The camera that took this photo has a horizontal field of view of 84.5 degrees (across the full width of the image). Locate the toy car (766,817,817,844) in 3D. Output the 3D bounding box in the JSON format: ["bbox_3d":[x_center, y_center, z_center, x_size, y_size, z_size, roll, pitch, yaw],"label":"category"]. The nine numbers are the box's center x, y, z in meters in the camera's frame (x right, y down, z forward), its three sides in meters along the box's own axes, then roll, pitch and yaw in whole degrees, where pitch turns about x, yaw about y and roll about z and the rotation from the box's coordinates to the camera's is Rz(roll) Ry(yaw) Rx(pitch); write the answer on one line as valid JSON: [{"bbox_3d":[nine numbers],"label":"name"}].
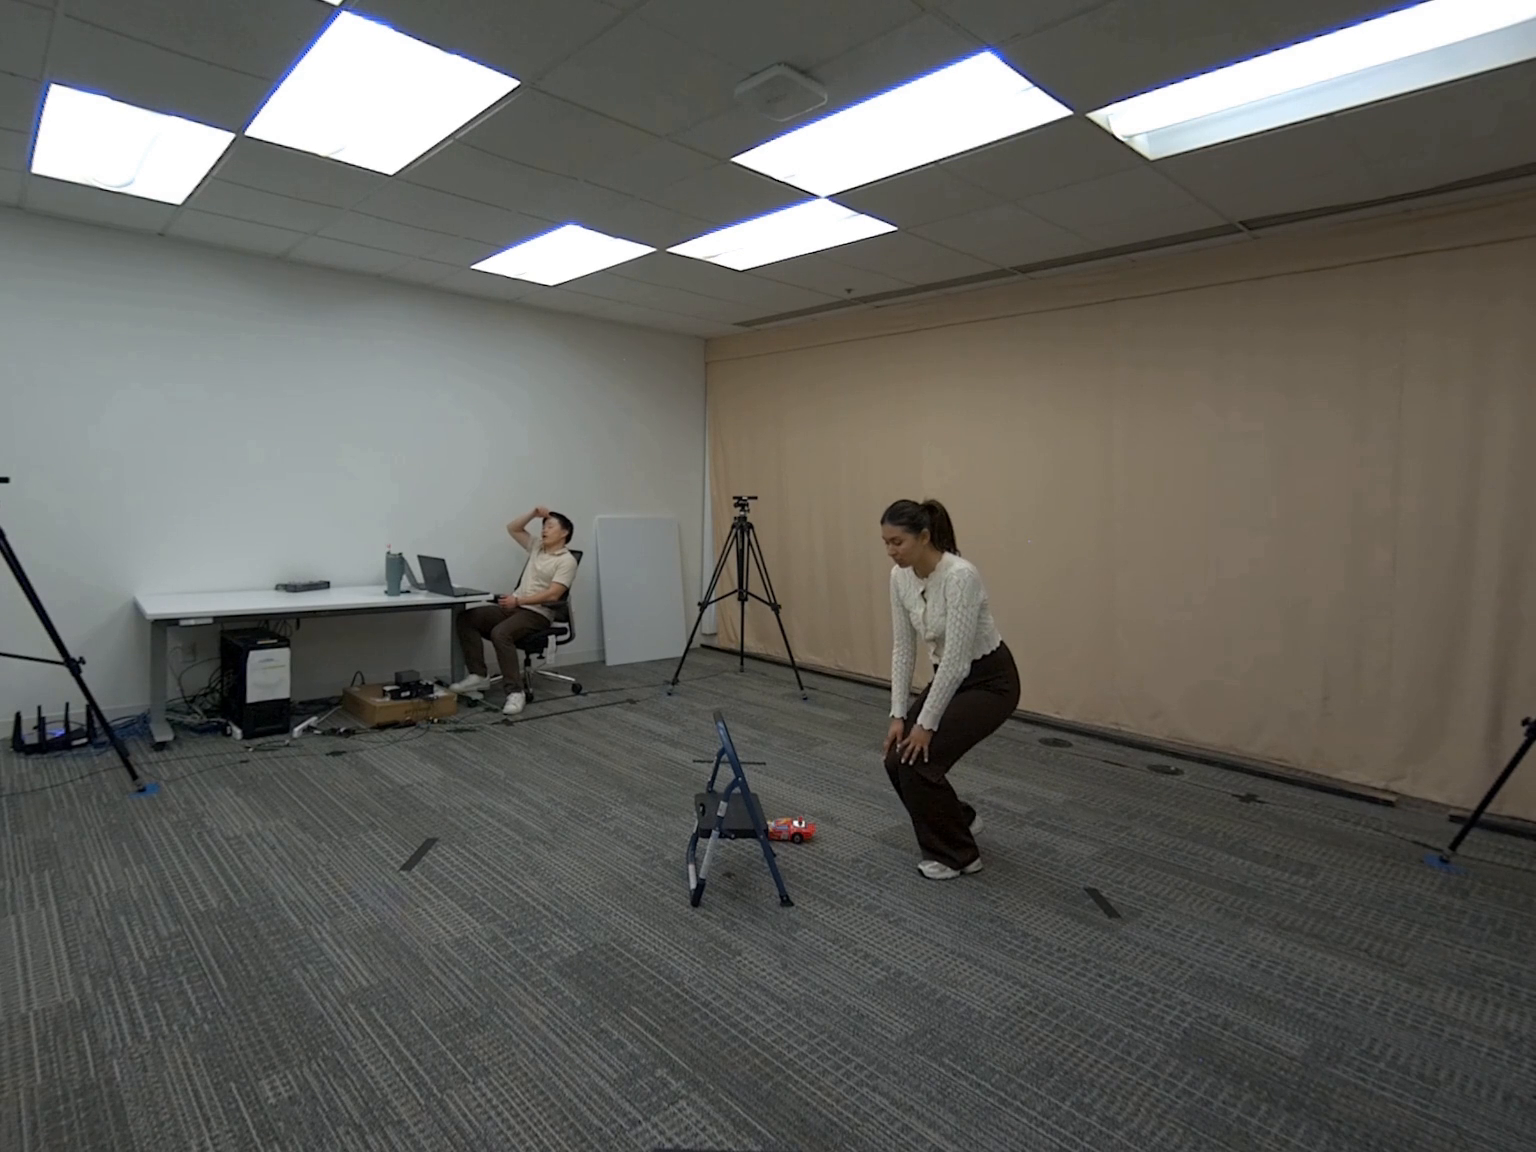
[{"bbox_3d":[0.069,1.044,3.461,0.255,0.083,0.130,-10,4,4],"label":"toy car"}]
